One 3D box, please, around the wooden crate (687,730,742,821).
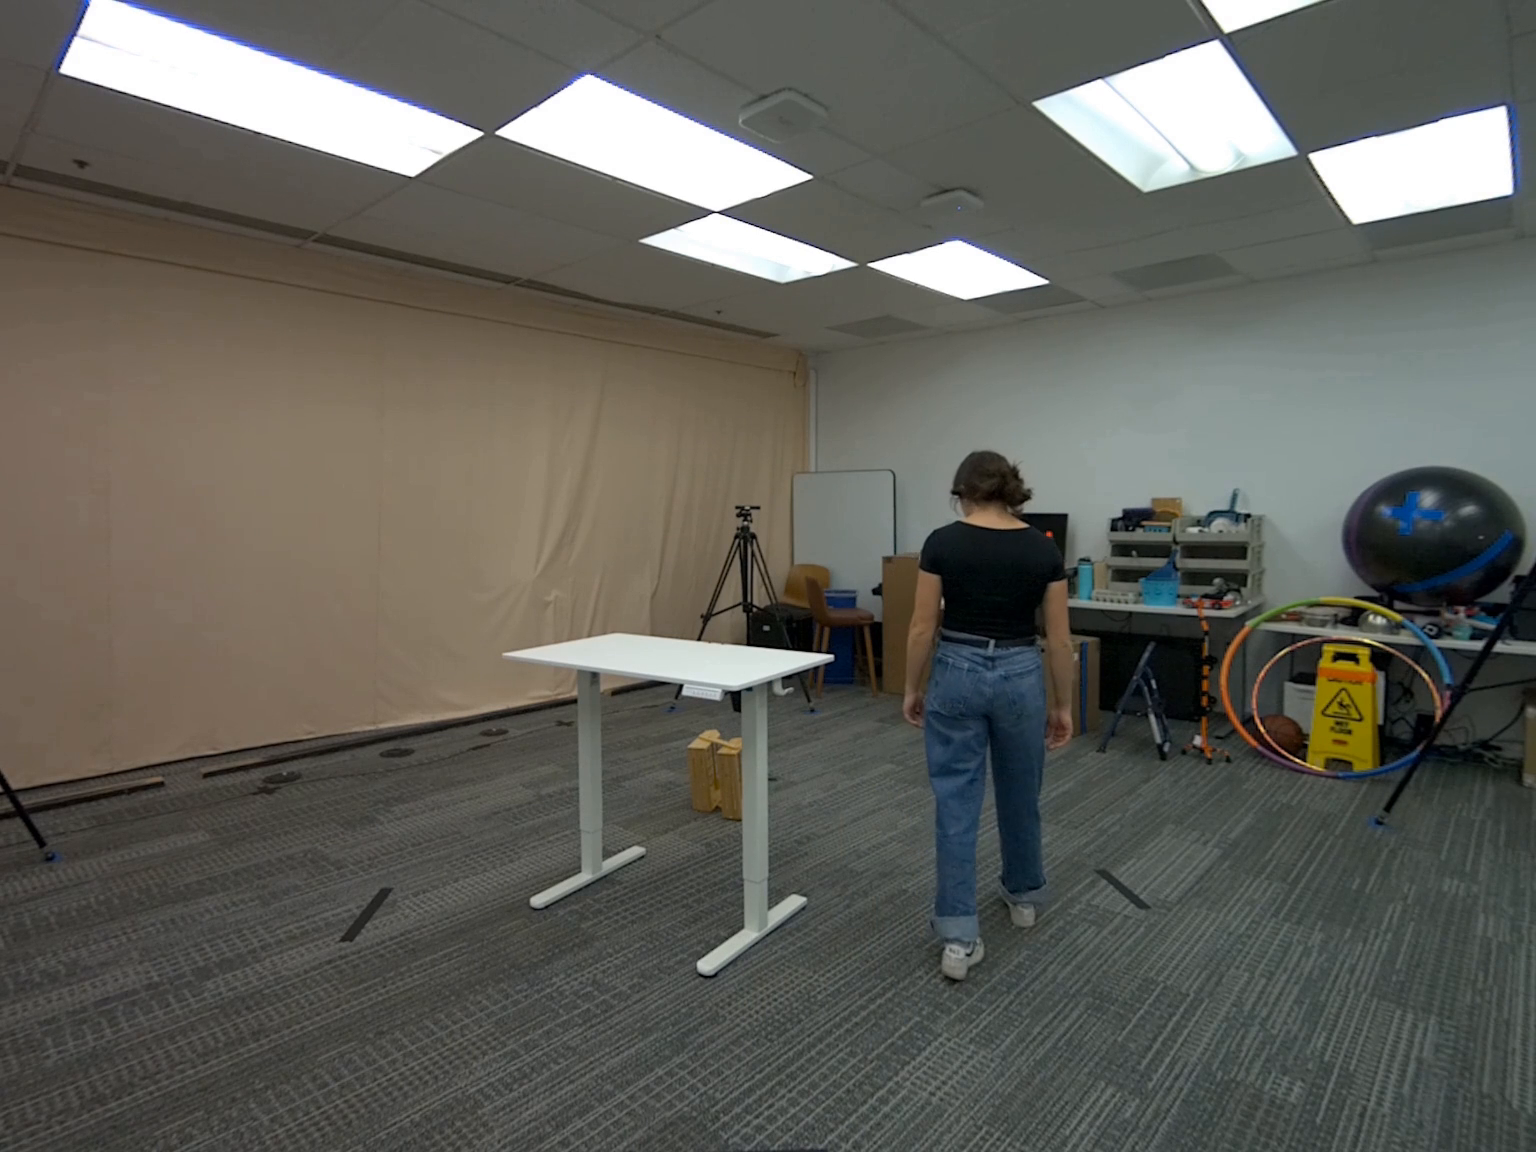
[{"bbox_3d":[-0.201,0.905,3.887,0.279,0.323,0.297,-2,8,21],"label":"wooden crate"}]
